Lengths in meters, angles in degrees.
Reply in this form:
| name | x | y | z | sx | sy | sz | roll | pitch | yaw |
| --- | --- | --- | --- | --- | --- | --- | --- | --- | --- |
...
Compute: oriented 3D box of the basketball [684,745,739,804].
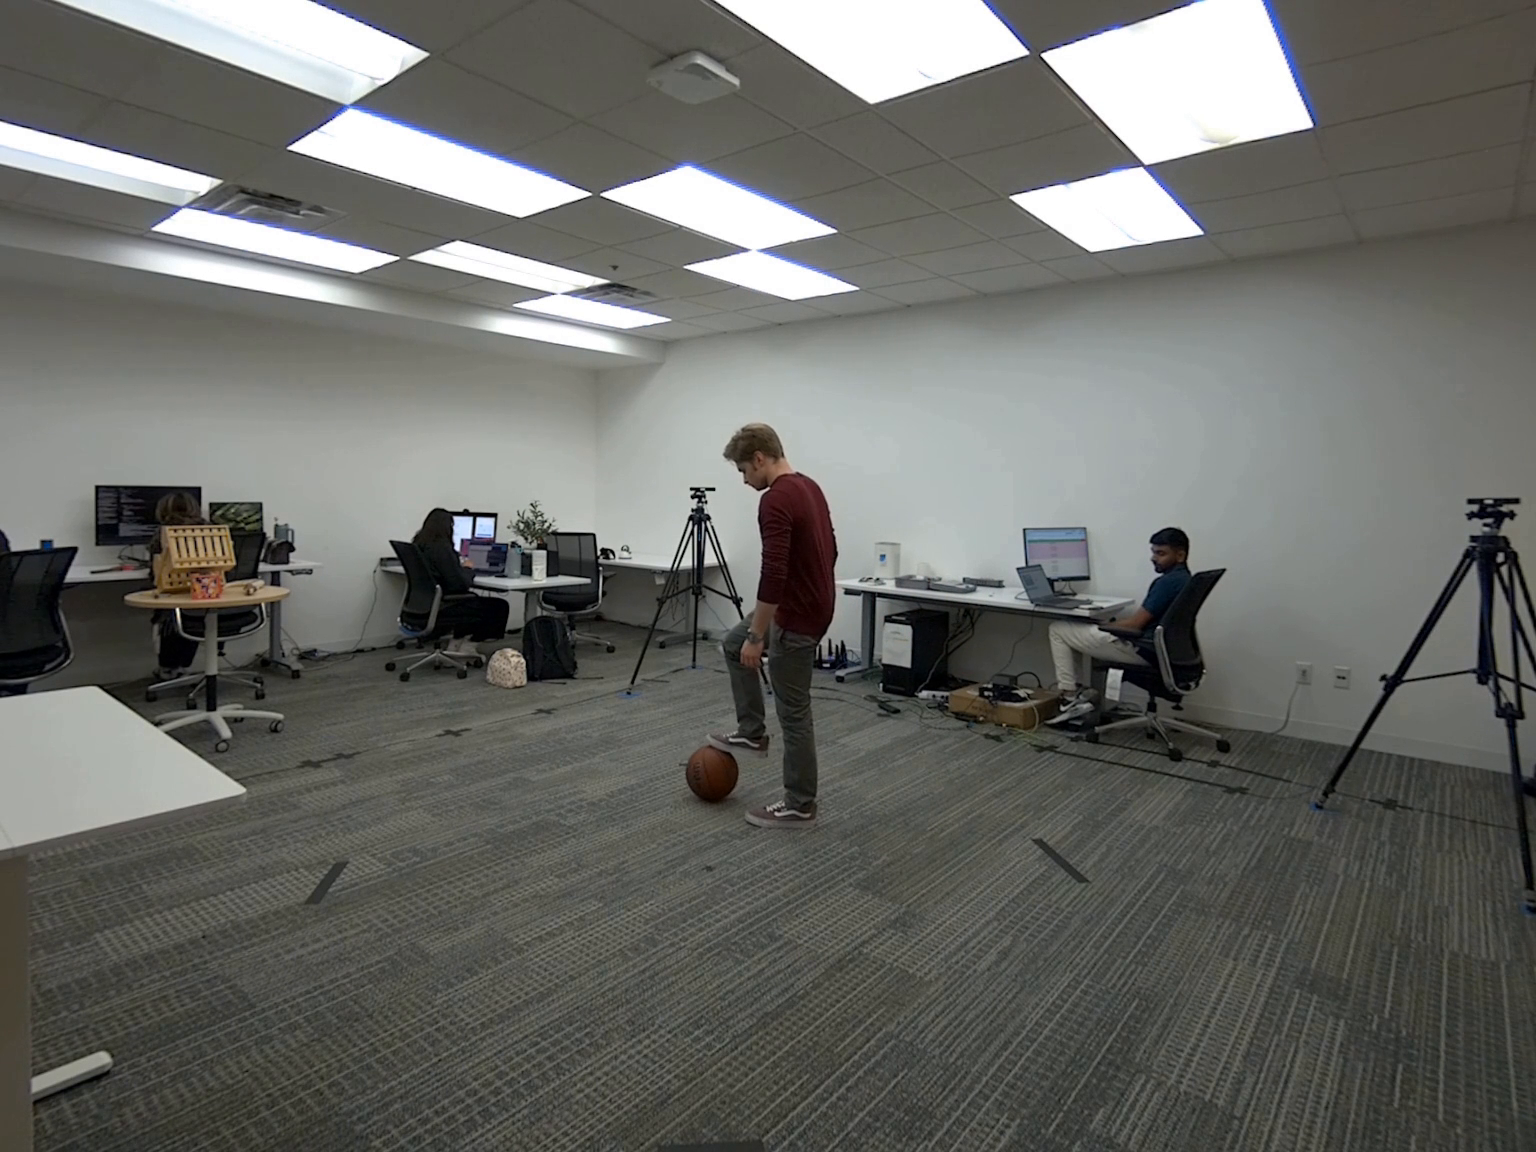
| name | x | y | z | sx | sy | sz | roll | pitch | yaw |
| --- | --- | --- | --- | --- | --- | --- | --- | --- | --- |
| basketball | -0.261 | 0.875 | 3.812 | 0.235 | 0.235 | 0.237 | 1 | 4 | -2 |
